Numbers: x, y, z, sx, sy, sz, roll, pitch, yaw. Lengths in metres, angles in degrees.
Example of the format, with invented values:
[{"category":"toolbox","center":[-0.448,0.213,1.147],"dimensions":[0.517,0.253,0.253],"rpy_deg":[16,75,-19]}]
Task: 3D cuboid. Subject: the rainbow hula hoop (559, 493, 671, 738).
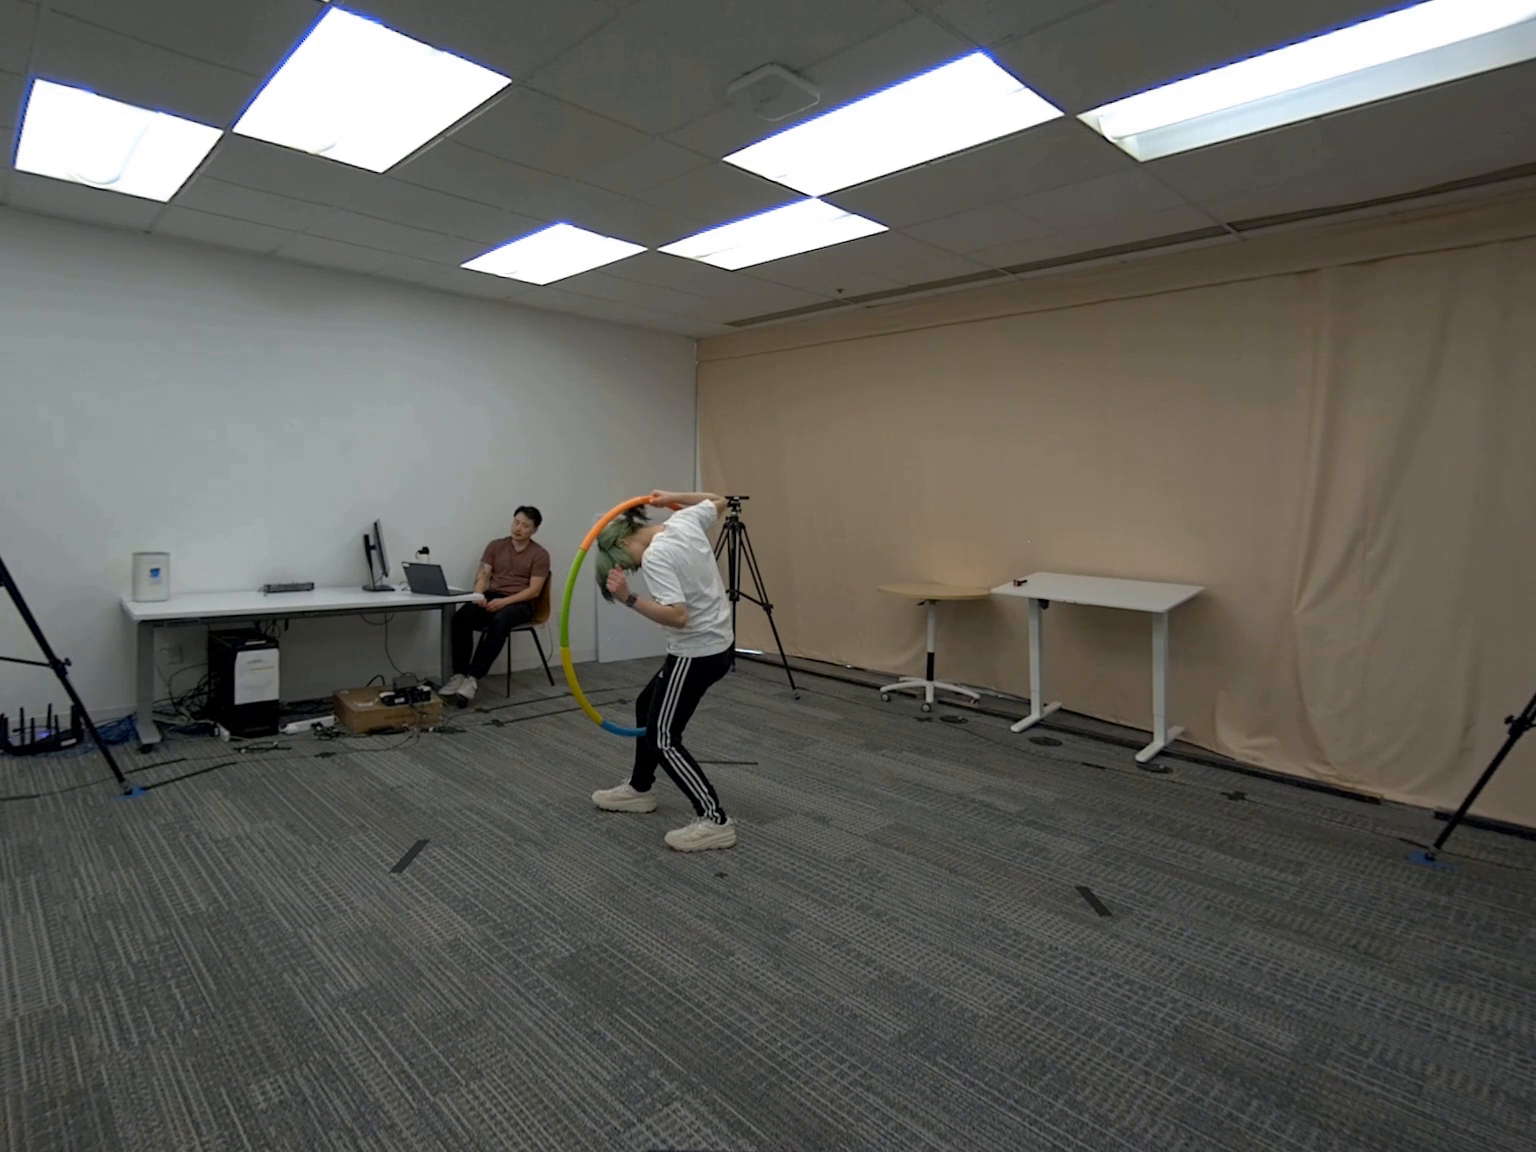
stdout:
[{"category":"rainbow hula hoop","center":[-0.488,0.167,3.511],"dimensions":[0.036,0.976,0.957],"rpy_deg":[2,4,37]}]
